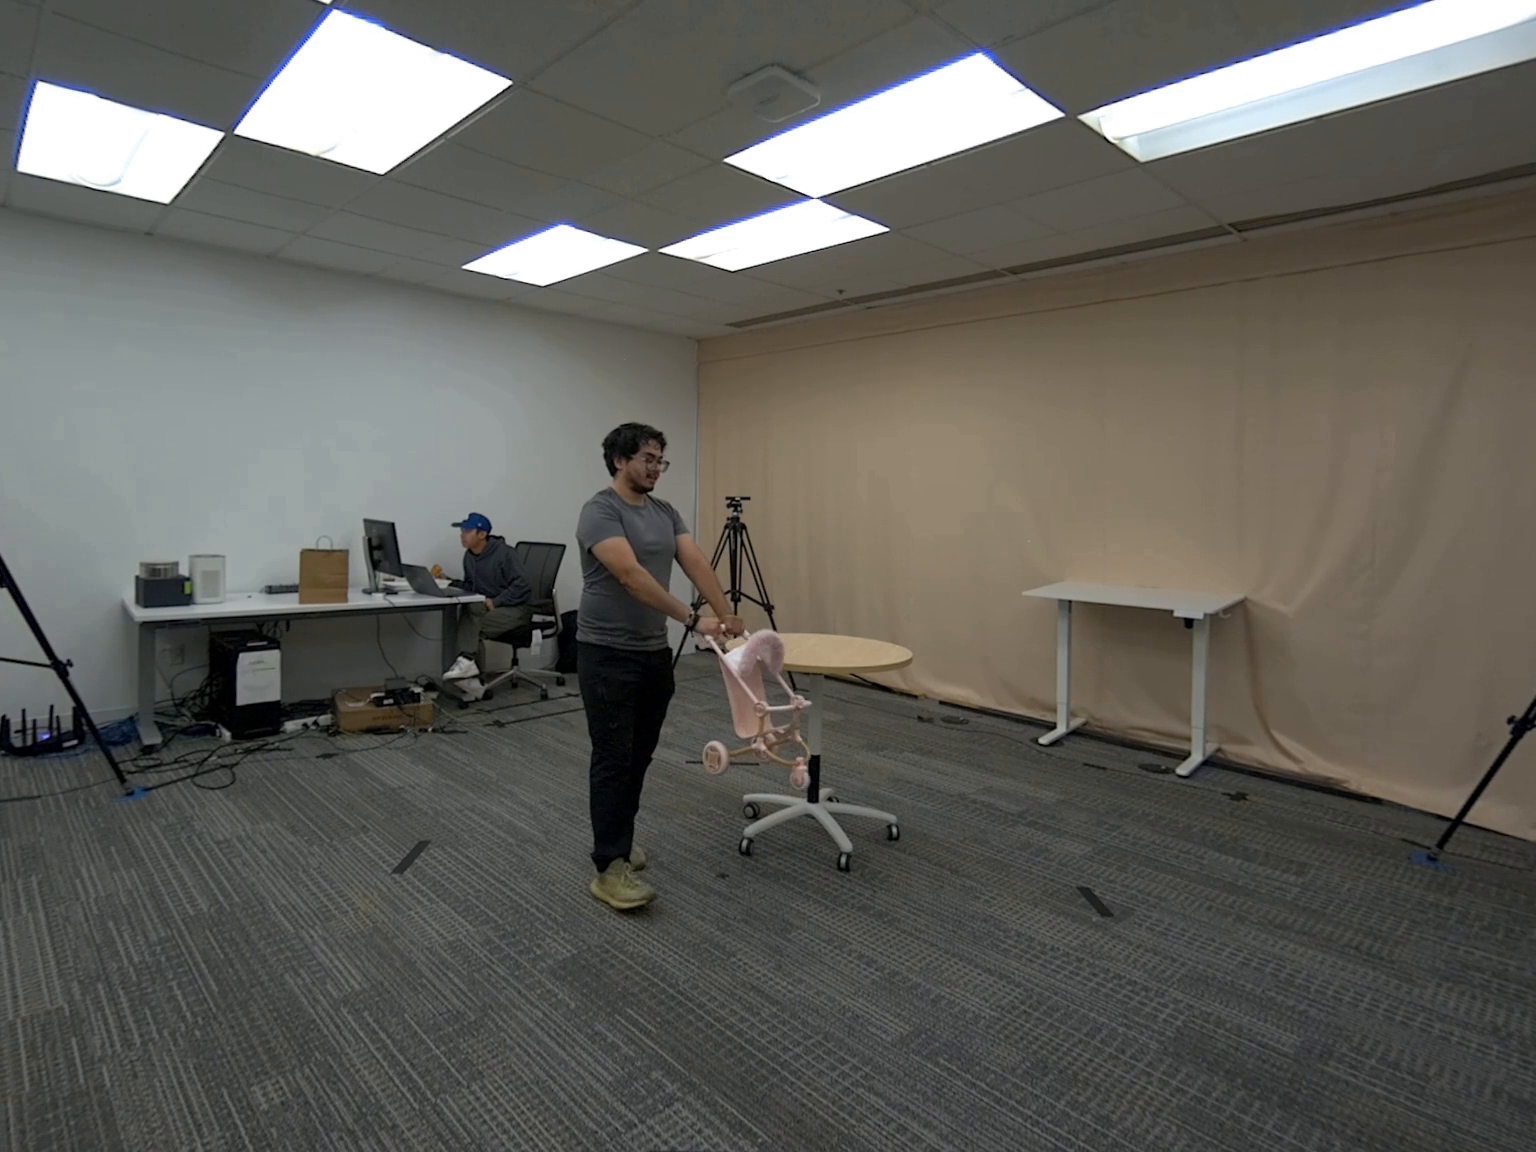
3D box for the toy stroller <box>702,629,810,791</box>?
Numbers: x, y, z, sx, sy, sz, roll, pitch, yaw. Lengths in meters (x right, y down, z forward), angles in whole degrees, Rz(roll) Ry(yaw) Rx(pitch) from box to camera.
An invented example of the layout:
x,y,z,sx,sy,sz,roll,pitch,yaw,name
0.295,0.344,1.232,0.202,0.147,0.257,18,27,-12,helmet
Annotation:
x,y,z,sx,sy,sz,roll,pitch,yaw,name
-0.035,0.421,2.729,0.348,0.538,0.274,-11,-9,44,toy stroller
